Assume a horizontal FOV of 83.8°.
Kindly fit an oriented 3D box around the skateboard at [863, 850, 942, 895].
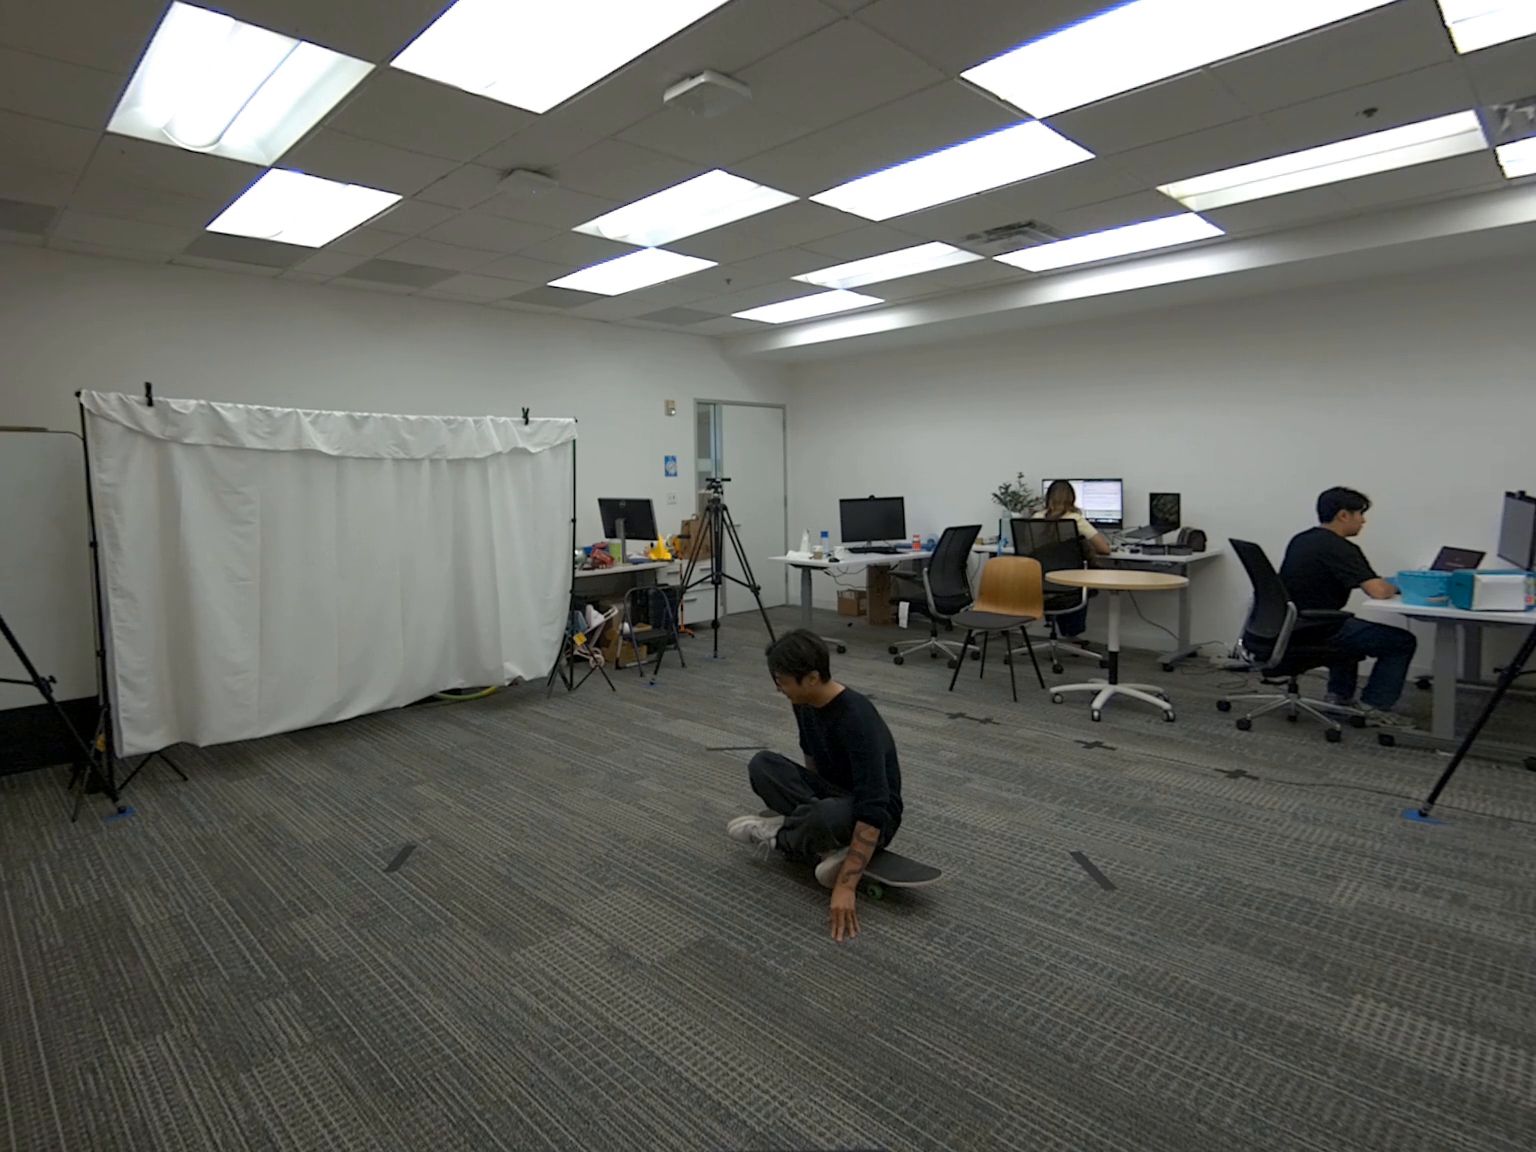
[{"bbox_3d":[0.252,1.003,3.009,0.810,0.110,0.188,5,8,43],"label":"skateboard"}]
